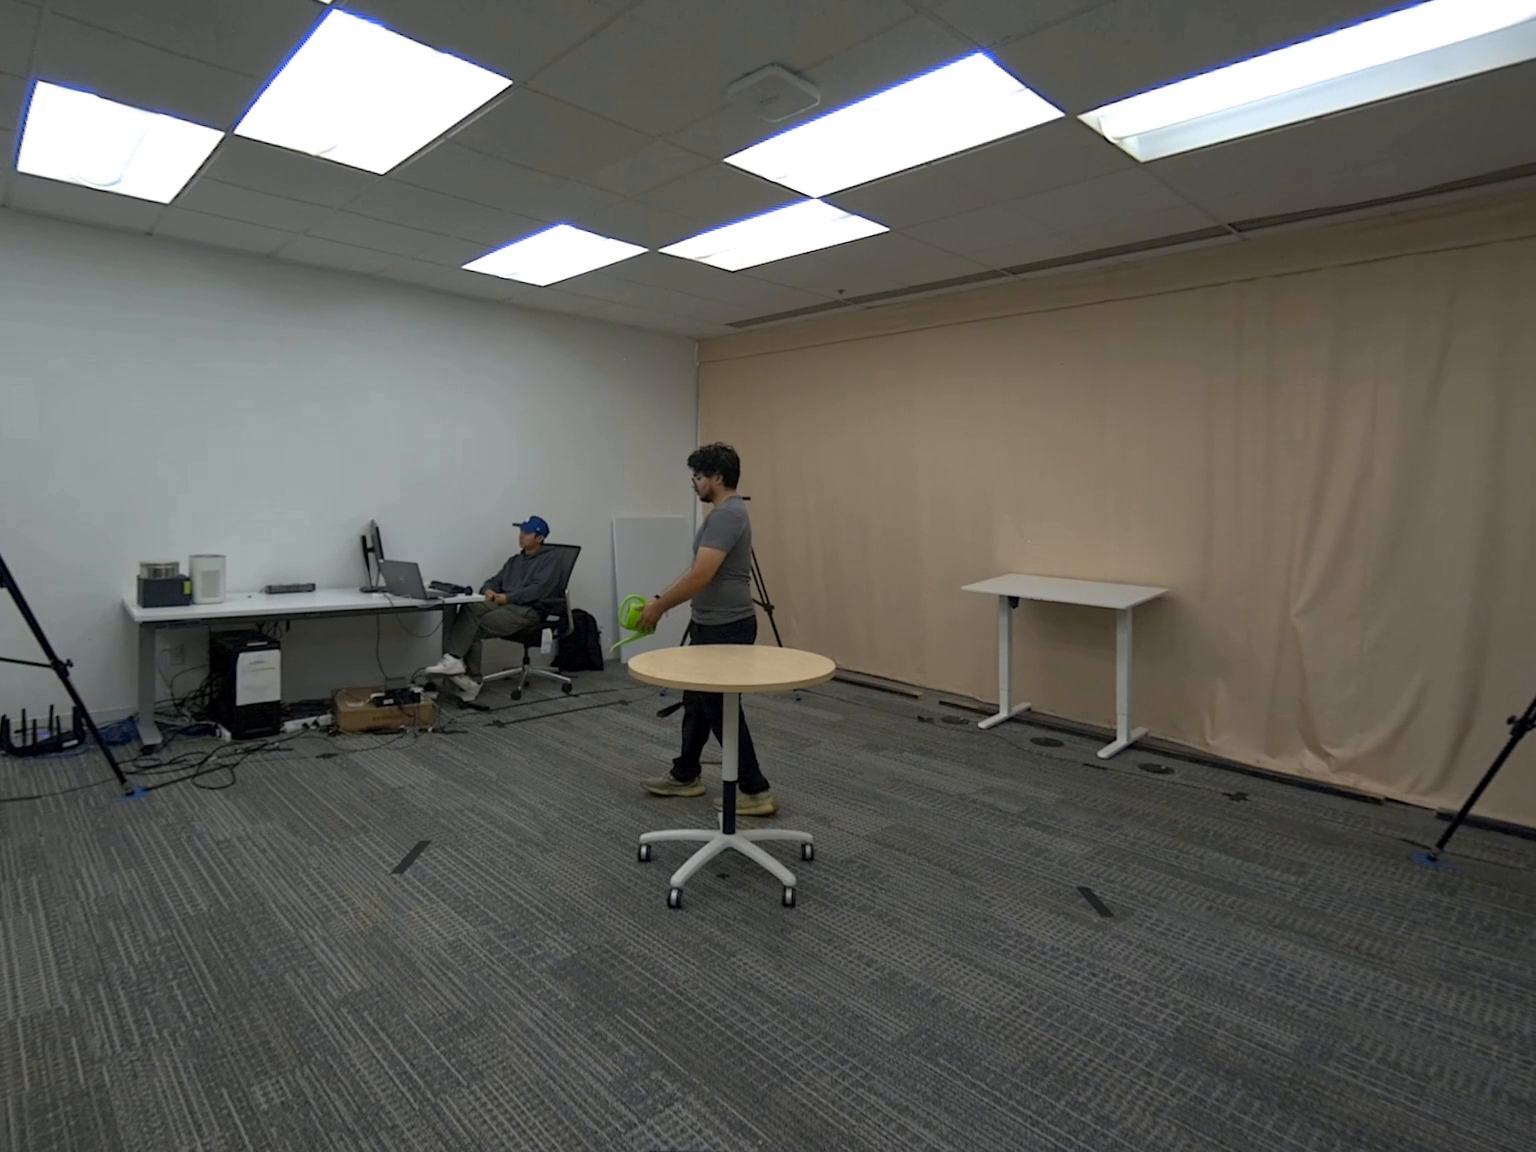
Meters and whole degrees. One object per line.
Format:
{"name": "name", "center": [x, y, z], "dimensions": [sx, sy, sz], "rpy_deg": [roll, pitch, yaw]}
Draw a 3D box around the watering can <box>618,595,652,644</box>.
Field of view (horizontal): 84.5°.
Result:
{"name": "watering can", "center": [-0.600, 0.221, 3.810], "dimensions": [0.175, 0.276, 0.100], "rpy_deg": [13, 17, -11]}
